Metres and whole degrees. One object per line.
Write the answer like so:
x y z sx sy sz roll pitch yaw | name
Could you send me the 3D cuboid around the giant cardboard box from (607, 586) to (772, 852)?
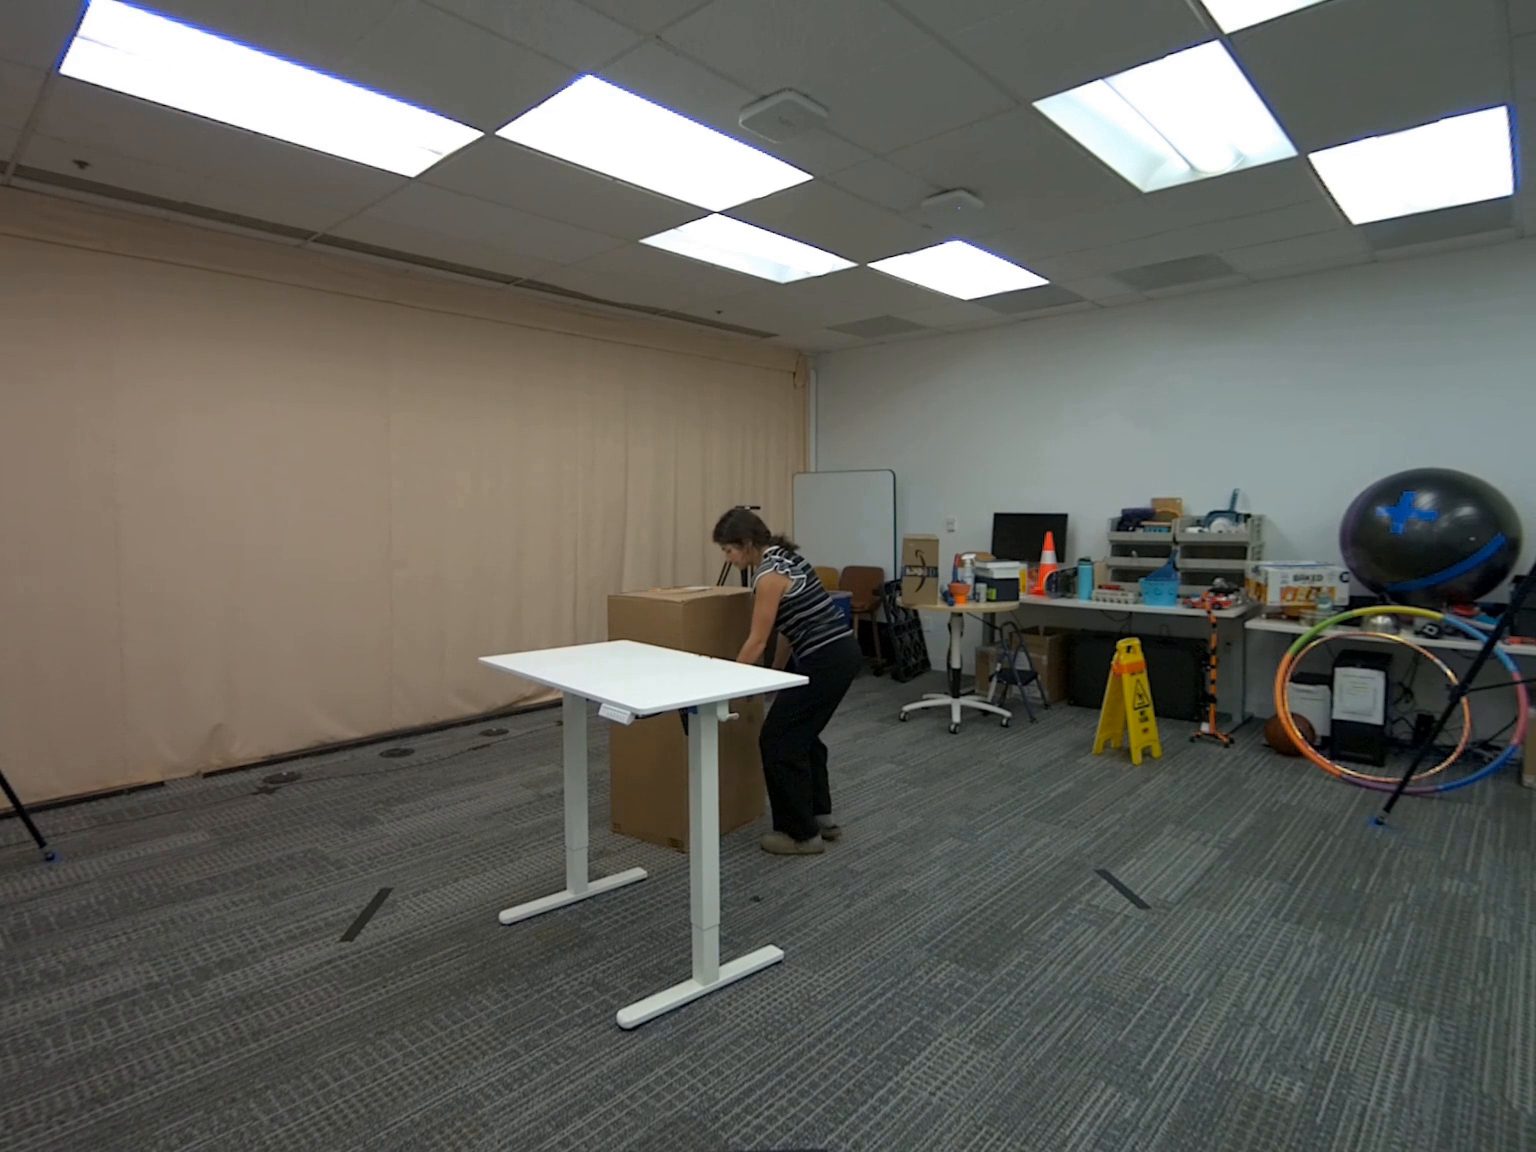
-0.348 0.579 3.708 0.439 1.024 0.561 2 4 35 | giant cardboard box
